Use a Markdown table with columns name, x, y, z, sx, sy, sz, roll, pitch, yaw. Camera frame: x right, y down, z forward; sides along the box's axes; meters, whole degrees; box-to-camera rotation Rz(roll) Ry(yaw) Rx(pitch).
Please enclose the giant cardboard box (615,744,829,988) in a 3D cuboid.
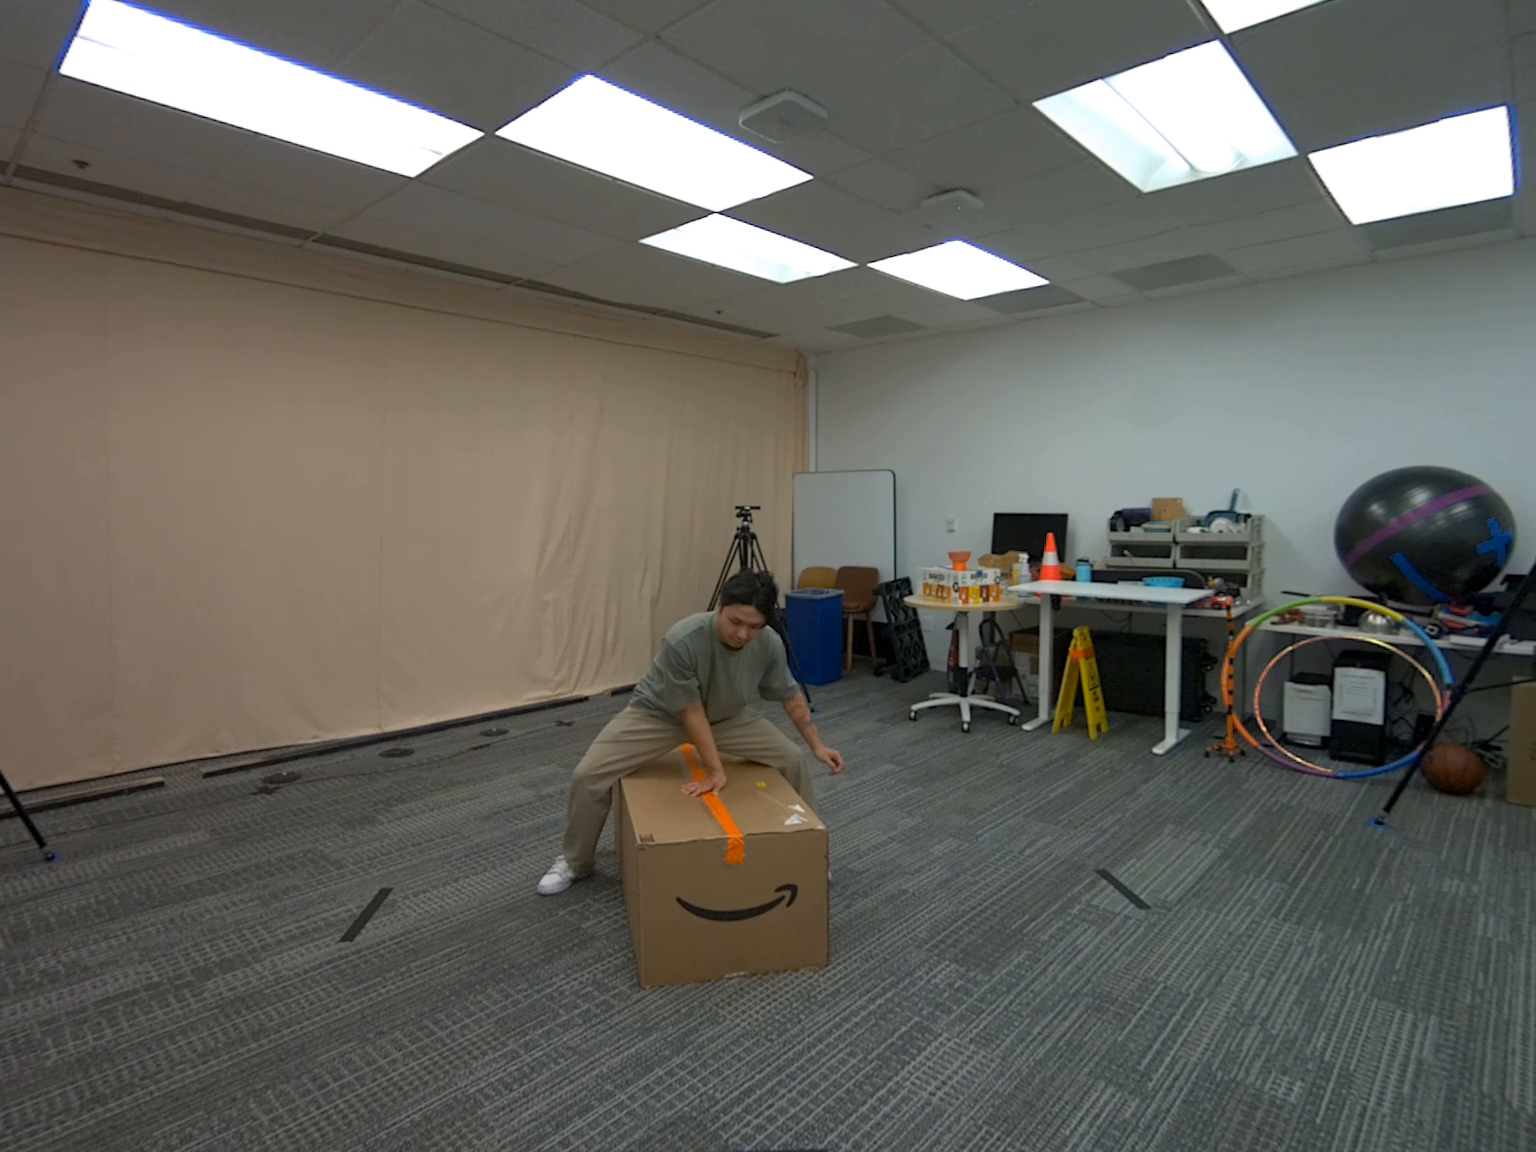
| name | x | y | z | sx | sy | sz | roll | pitch | yaw |
| --- | --- | --- | --- | --- | --- | --- | --- | --- | --- |
| giant cardboard box | -0.215 | 0.939 | 2.973 | 0.570 | 0.425 | 1.042 | -1 | 4 | -13 |
